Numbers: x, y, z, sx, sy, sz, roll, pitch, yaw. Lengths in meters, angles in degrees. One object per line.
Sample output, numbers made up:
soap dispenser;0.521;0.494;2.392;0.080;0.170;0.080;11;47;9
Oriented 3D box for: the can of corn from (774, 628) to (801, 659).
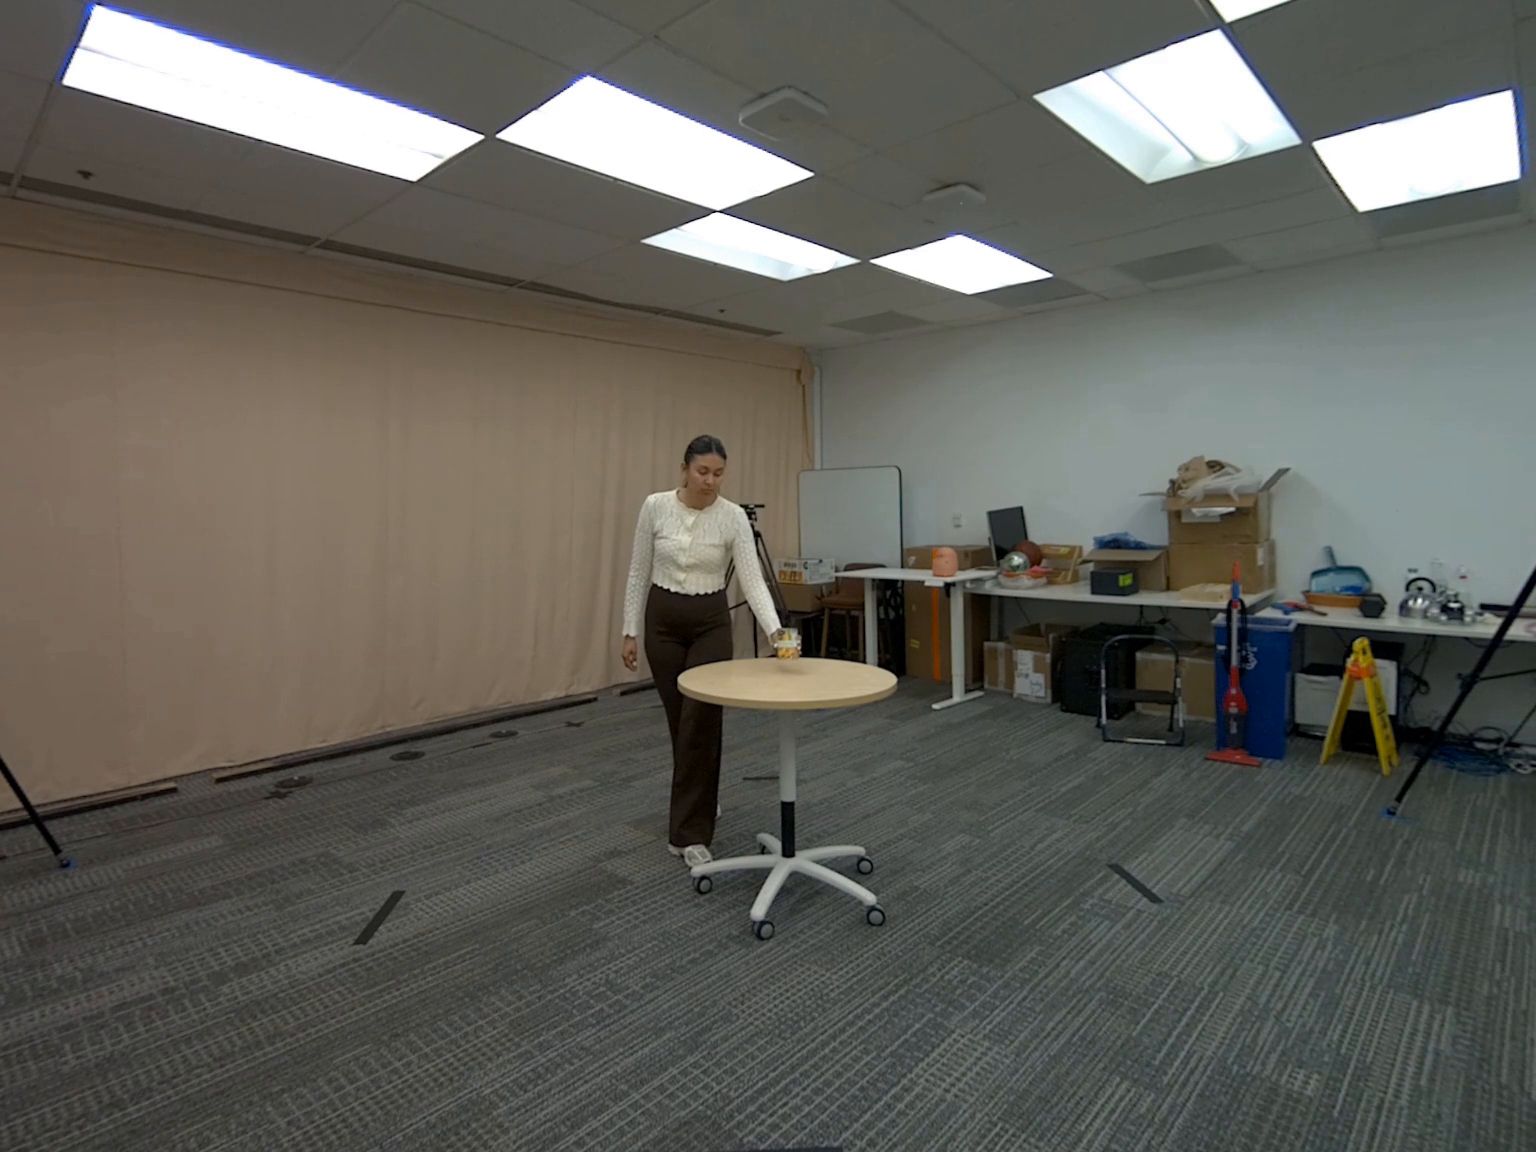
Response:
can of corn;0.073;0.250;3.067;0.074;0.111;0.074;1;-3;-2
